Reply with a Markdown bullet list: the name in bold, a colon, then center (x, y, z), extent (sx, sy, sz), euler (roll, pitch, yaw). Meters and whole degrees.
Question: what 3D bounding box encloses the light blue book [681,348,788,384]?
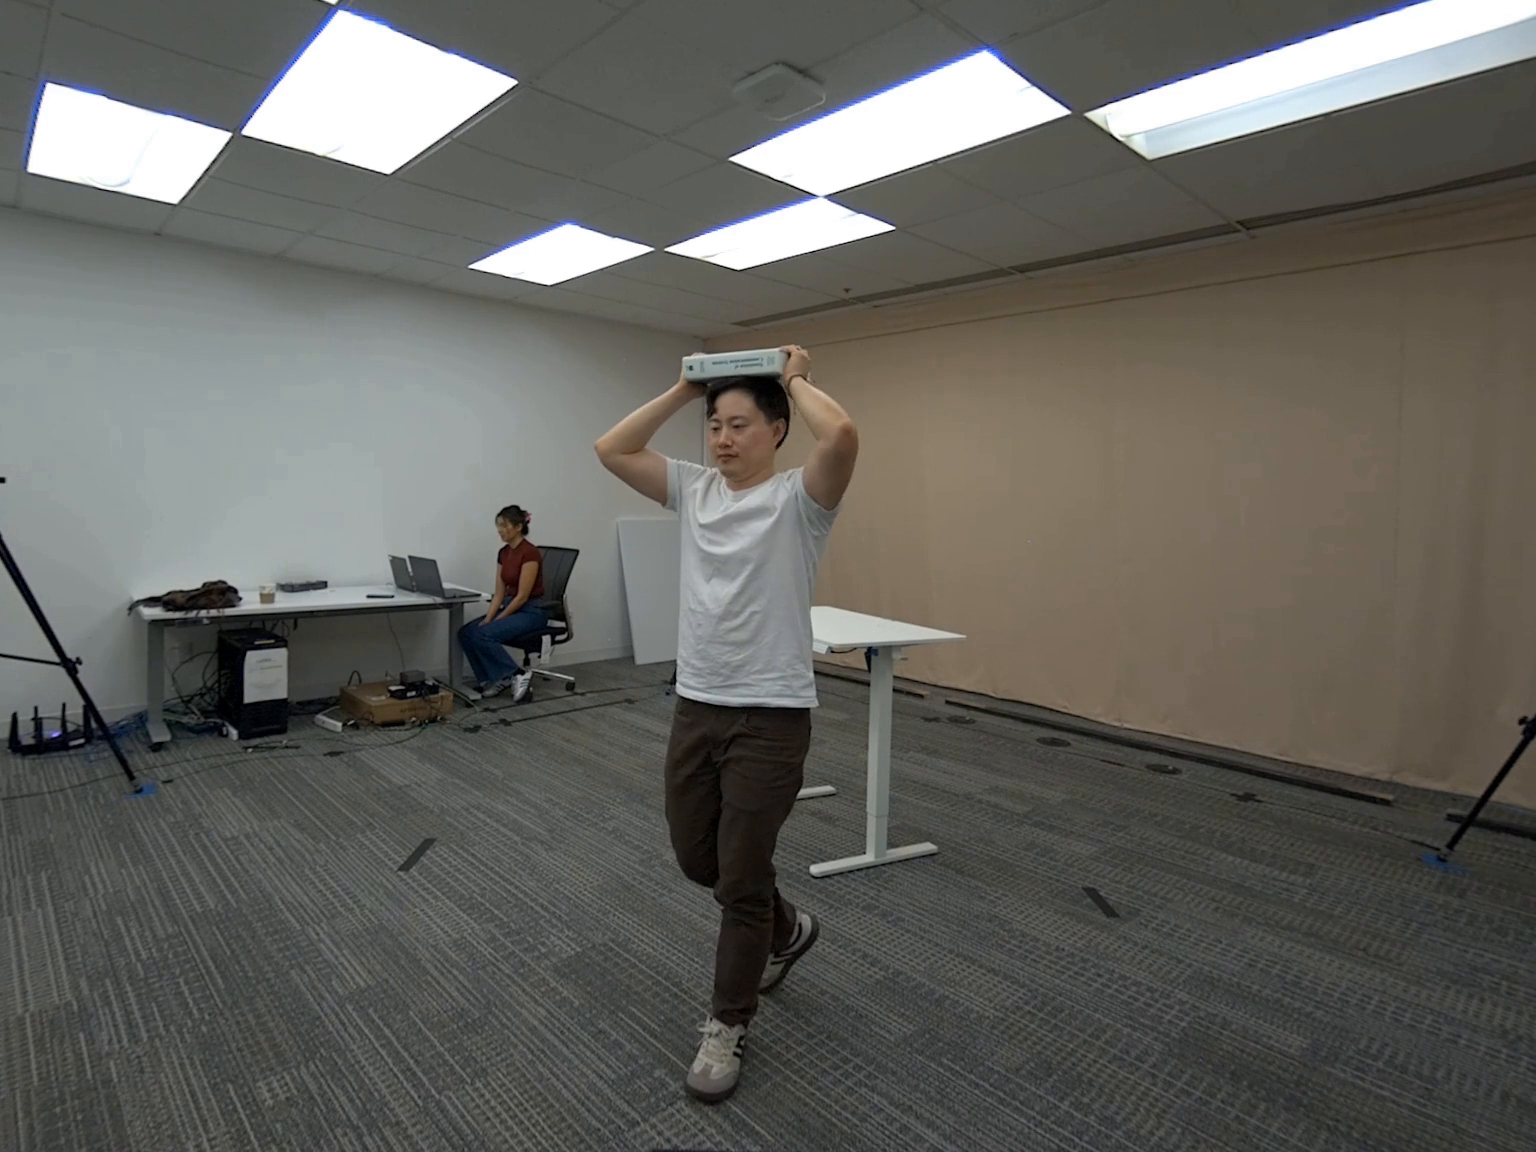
- **light blue book**: center (-0.044, -0.503, 2.039), extent (0.266, 0.059, 0.188), euler (3, 6, 25)
